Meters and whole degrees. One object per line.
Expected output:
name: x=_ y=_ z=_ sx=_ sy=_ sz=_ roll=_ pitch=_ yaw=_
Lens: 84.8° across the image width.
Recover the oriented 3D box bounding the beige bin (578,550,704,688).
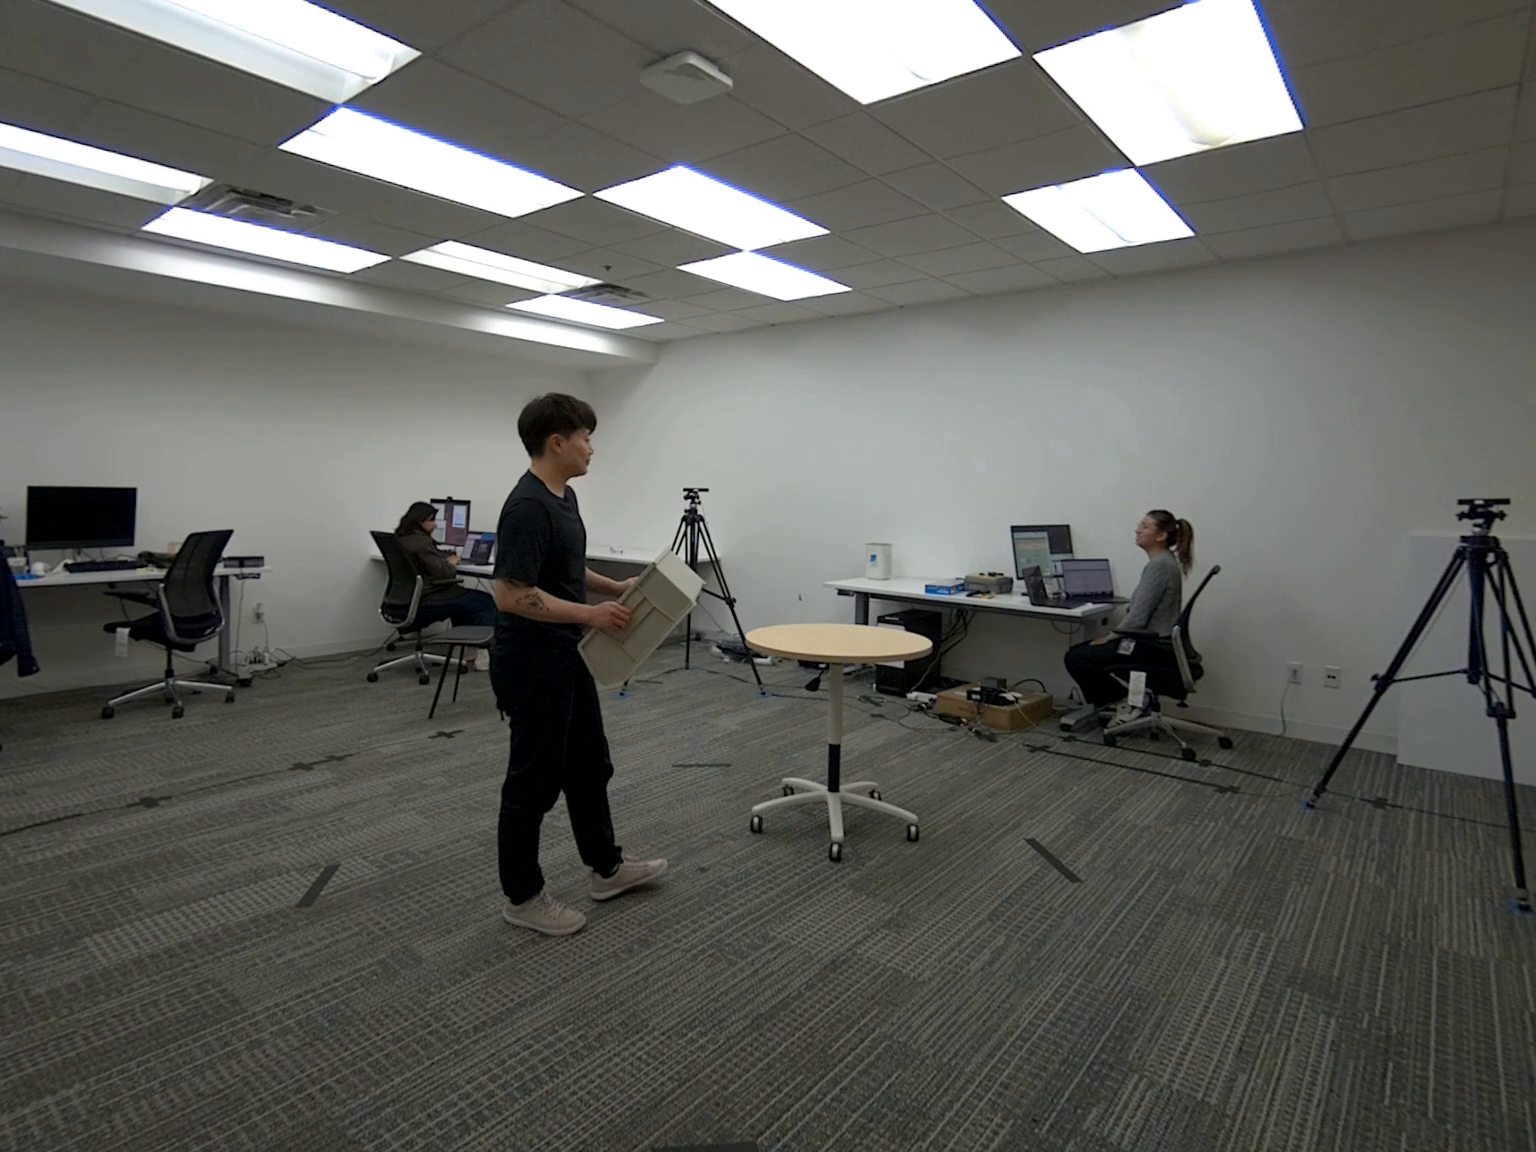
beige bin: x=-0.396 y=0.129 z=2.686 sx=0.188 sy=0.377 sz=0.424 roll=42 pitch=6 yaw=-5
